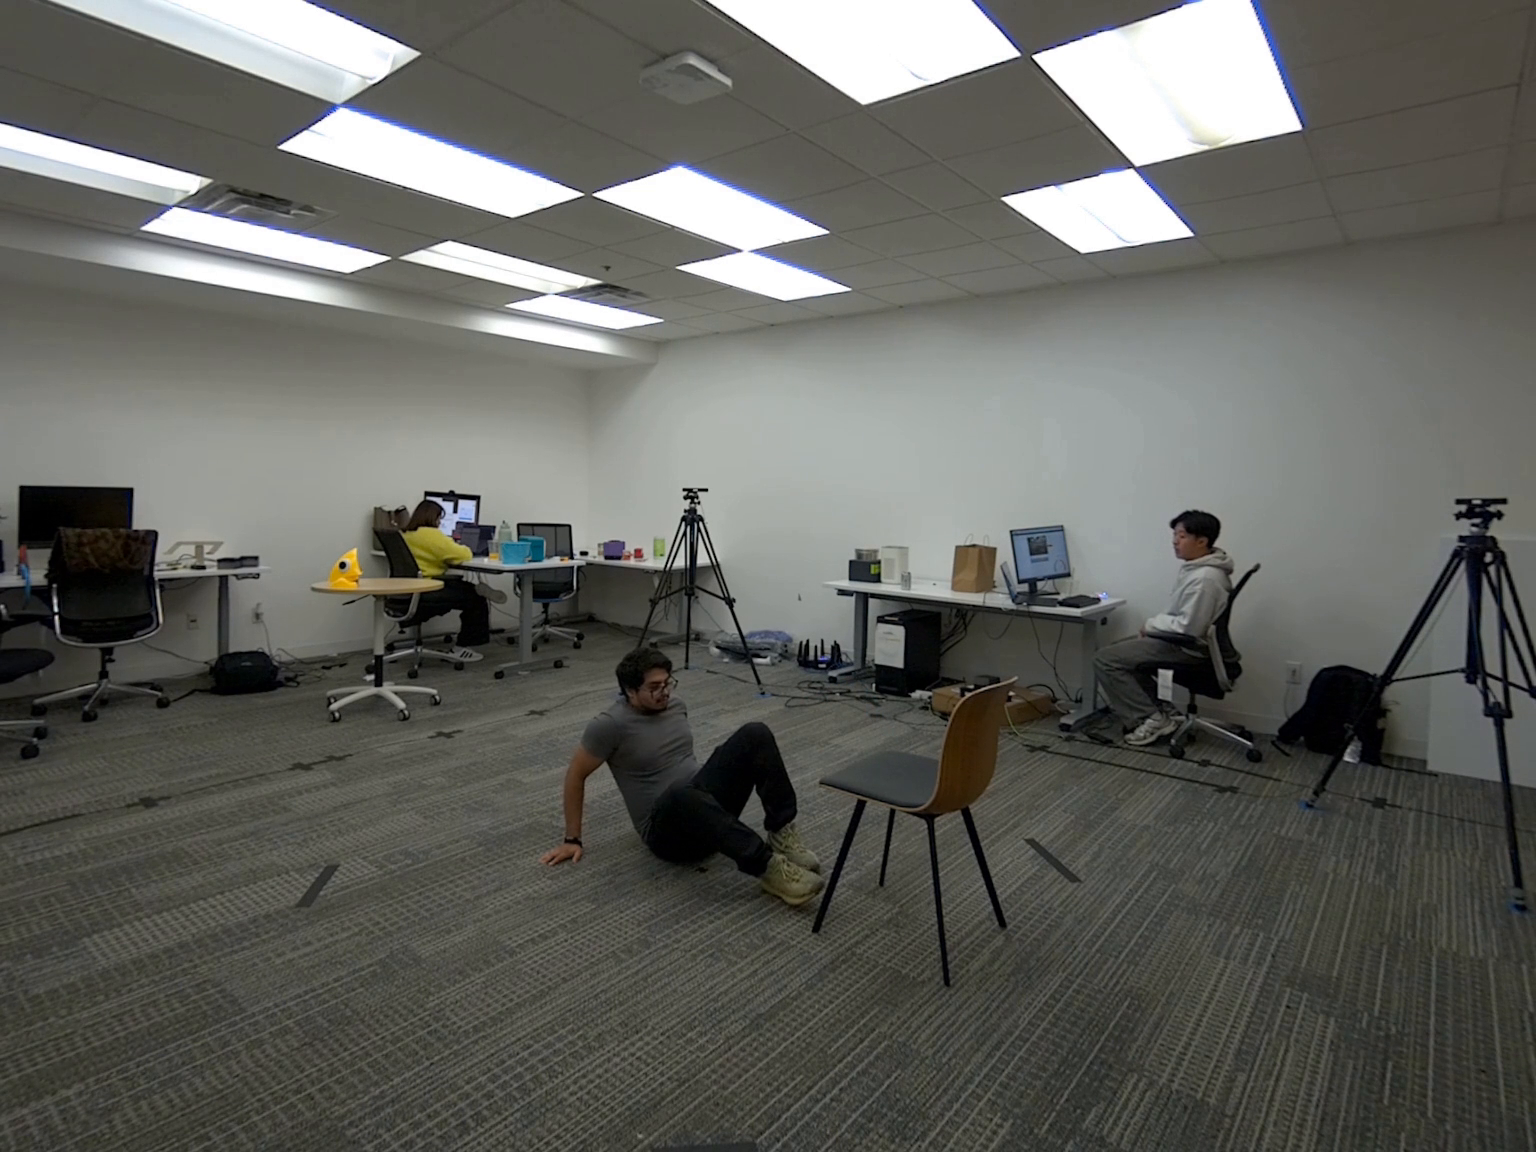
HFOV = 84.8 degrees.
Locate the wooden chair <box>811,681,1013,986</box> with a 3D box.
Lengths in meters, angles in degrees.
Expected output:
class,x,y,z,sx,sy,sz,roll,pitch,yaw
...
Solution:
class,x,y,z,sx,sy,sz,roll,pitch,yaw
wooden chair,0.454,0.700,2.689,0.542,0.873,0.464,9,7,37
